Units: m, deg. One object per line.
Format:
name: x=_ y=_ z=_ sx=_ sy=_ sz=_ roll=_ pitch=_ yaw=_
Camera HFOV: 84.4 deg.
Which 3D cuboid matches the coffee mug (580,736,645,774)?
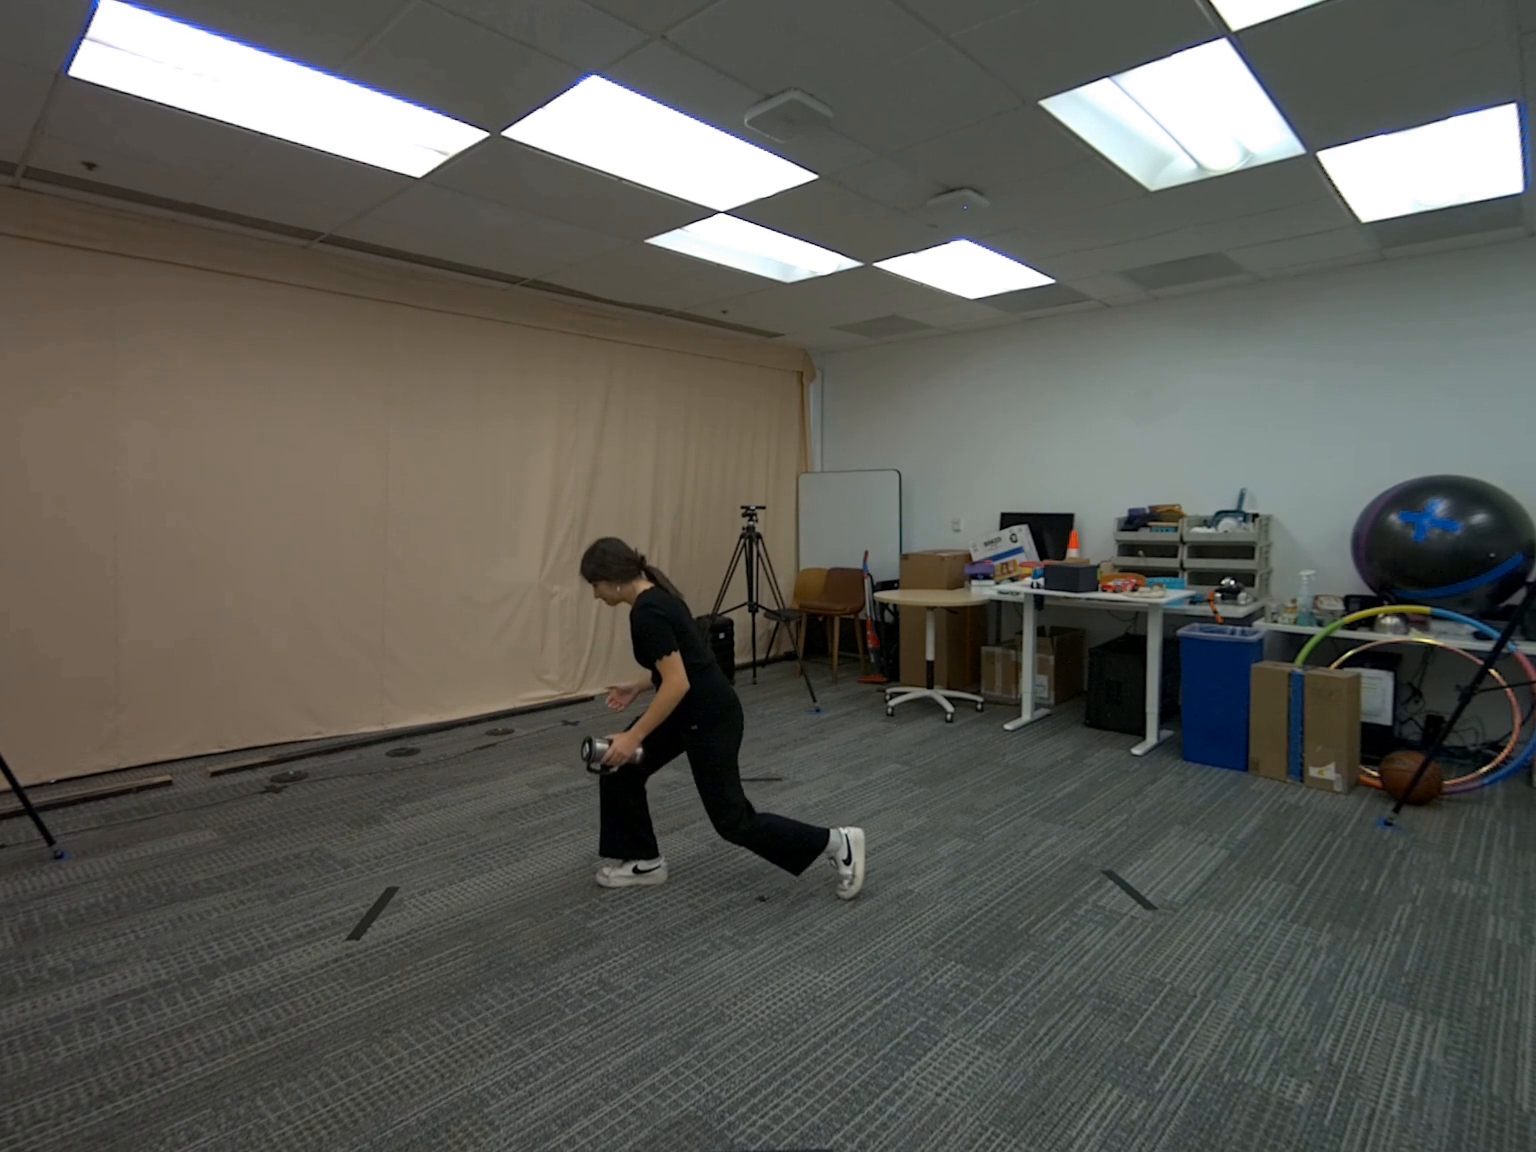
coffee mug: x=-0.532 y=0.612 z=2.878 sx=0.197 sy=0.123 sz=0.089 roll=14 pitch=-19 yaw=-25
